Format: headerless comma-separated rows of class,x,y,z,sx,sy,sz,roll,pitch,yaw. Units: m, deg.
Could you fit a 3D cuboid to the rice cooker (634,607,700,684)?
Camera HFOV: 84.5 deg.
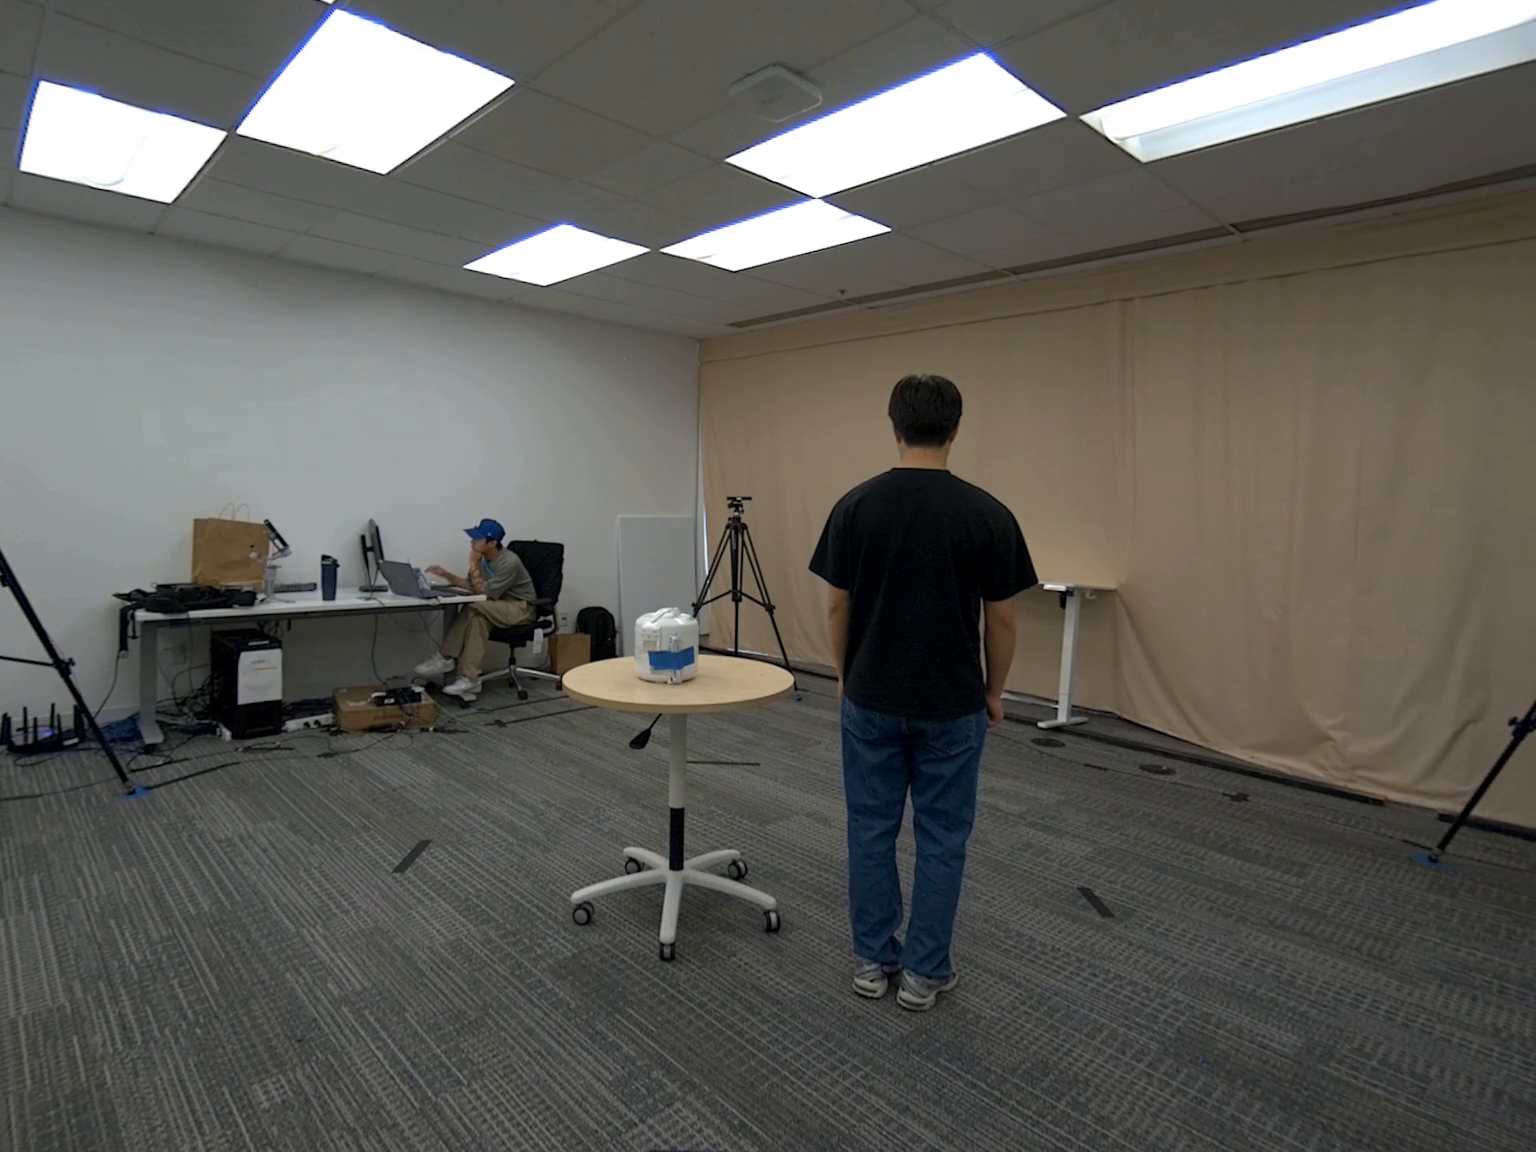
rice cooker,-0.339,0.223,2.760,0.222,0.232,0.217,4,5,25
